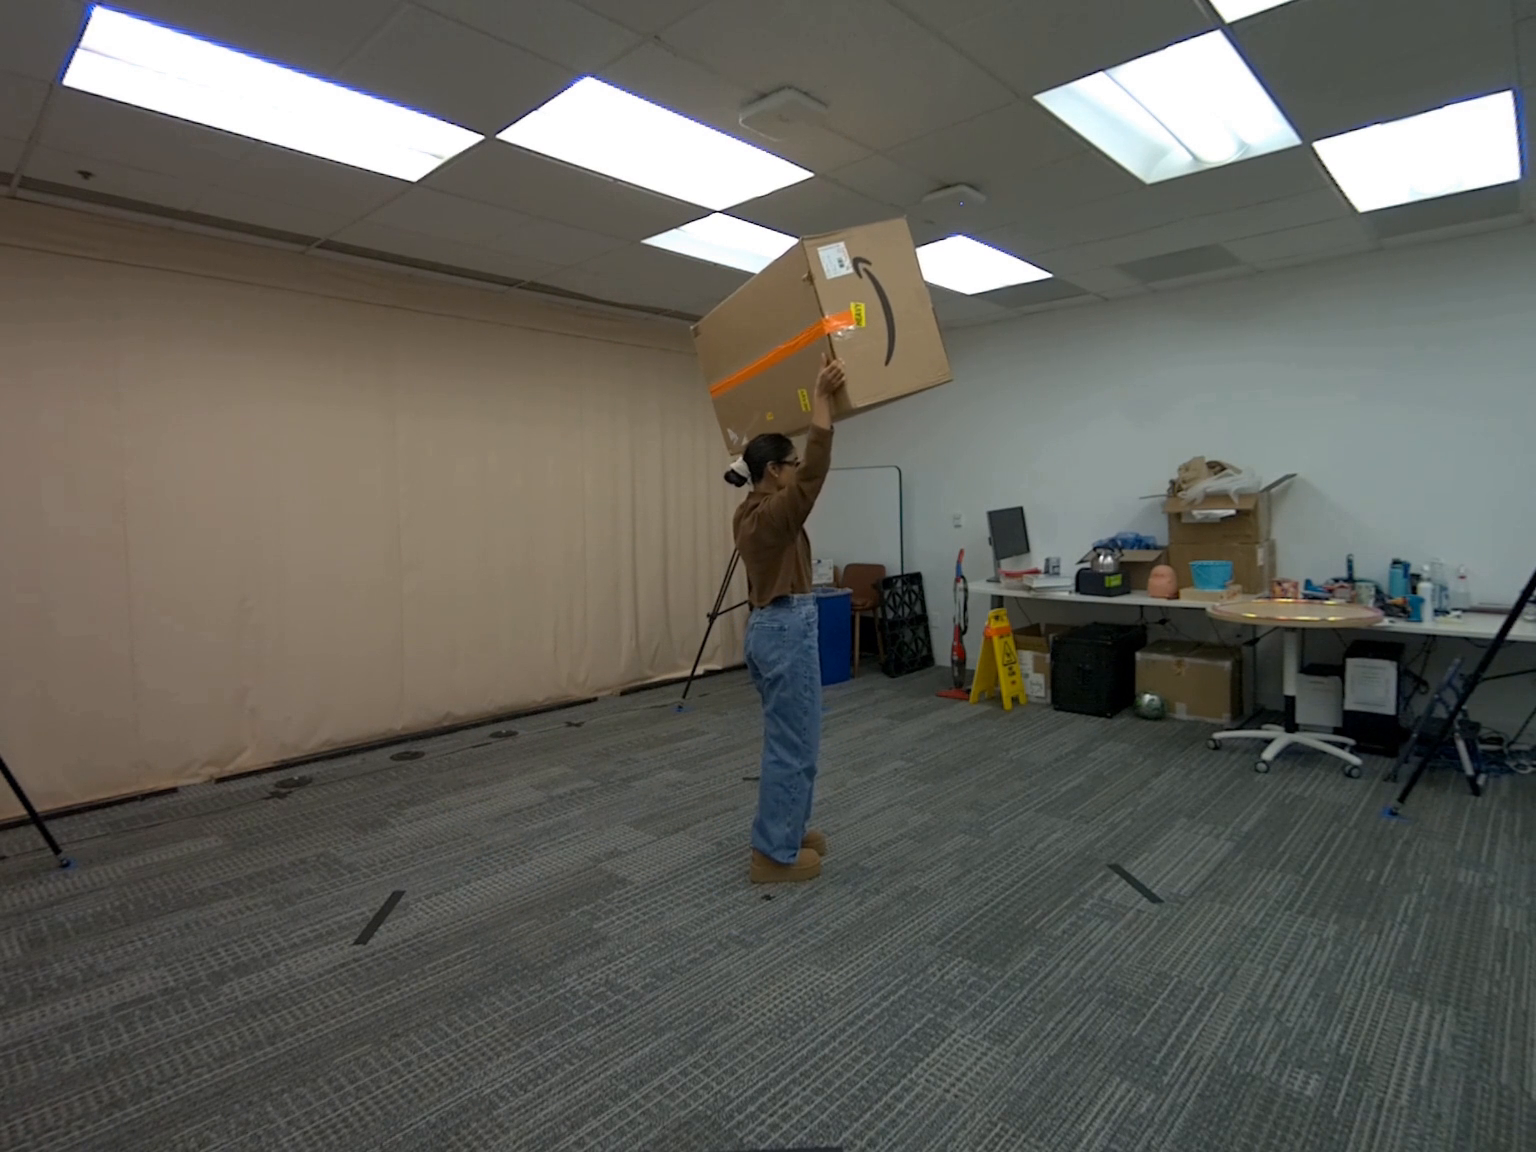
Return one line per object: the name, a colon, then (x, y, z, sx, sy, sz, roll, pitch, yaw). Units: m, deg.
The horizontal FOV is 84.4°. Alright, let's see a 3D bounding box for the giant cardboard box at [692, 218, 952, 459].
giant cardboard box: (0.146, -0.860, 3.239, 0.419, 0.575, 1.048, -20, 6, -24)
